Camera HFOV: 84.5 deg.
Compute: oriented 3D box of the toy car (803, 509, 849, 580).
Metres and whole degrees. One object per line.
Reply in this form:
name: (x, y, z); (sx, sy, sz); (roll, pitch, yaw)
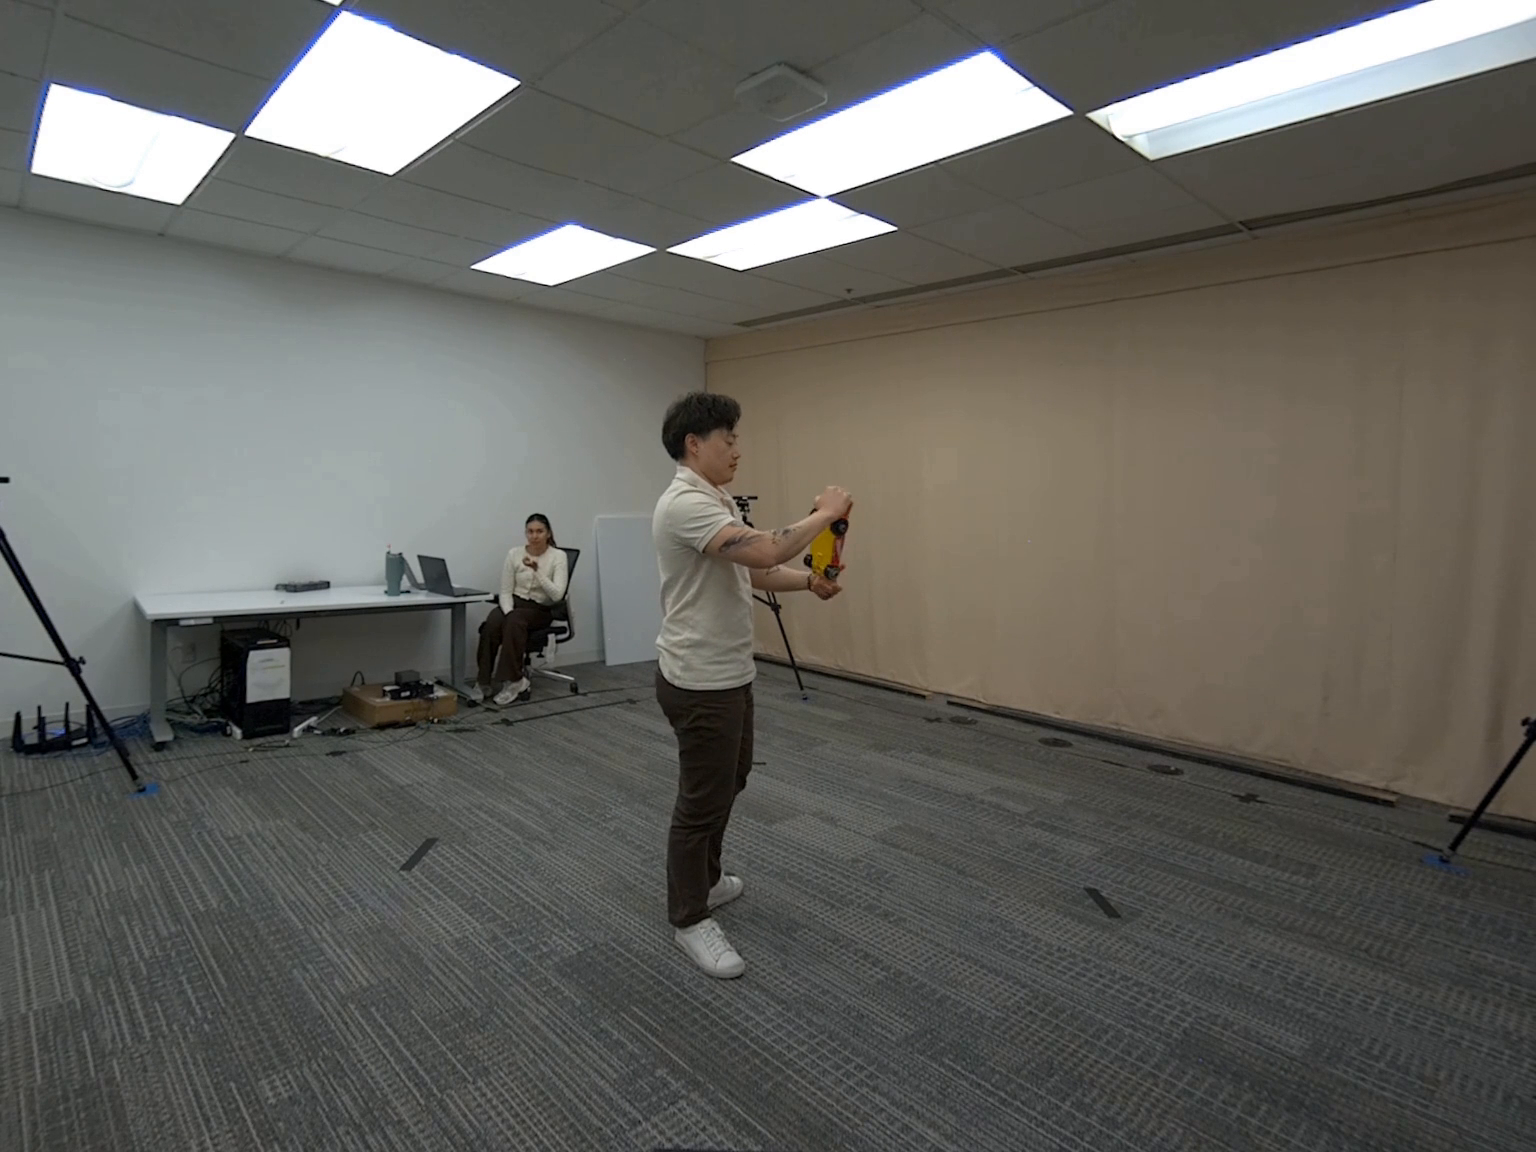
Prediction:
toy car: (0.168, -0.117, 2.440); (0.081, 0.252, 0.134); (1, 21, -42)
